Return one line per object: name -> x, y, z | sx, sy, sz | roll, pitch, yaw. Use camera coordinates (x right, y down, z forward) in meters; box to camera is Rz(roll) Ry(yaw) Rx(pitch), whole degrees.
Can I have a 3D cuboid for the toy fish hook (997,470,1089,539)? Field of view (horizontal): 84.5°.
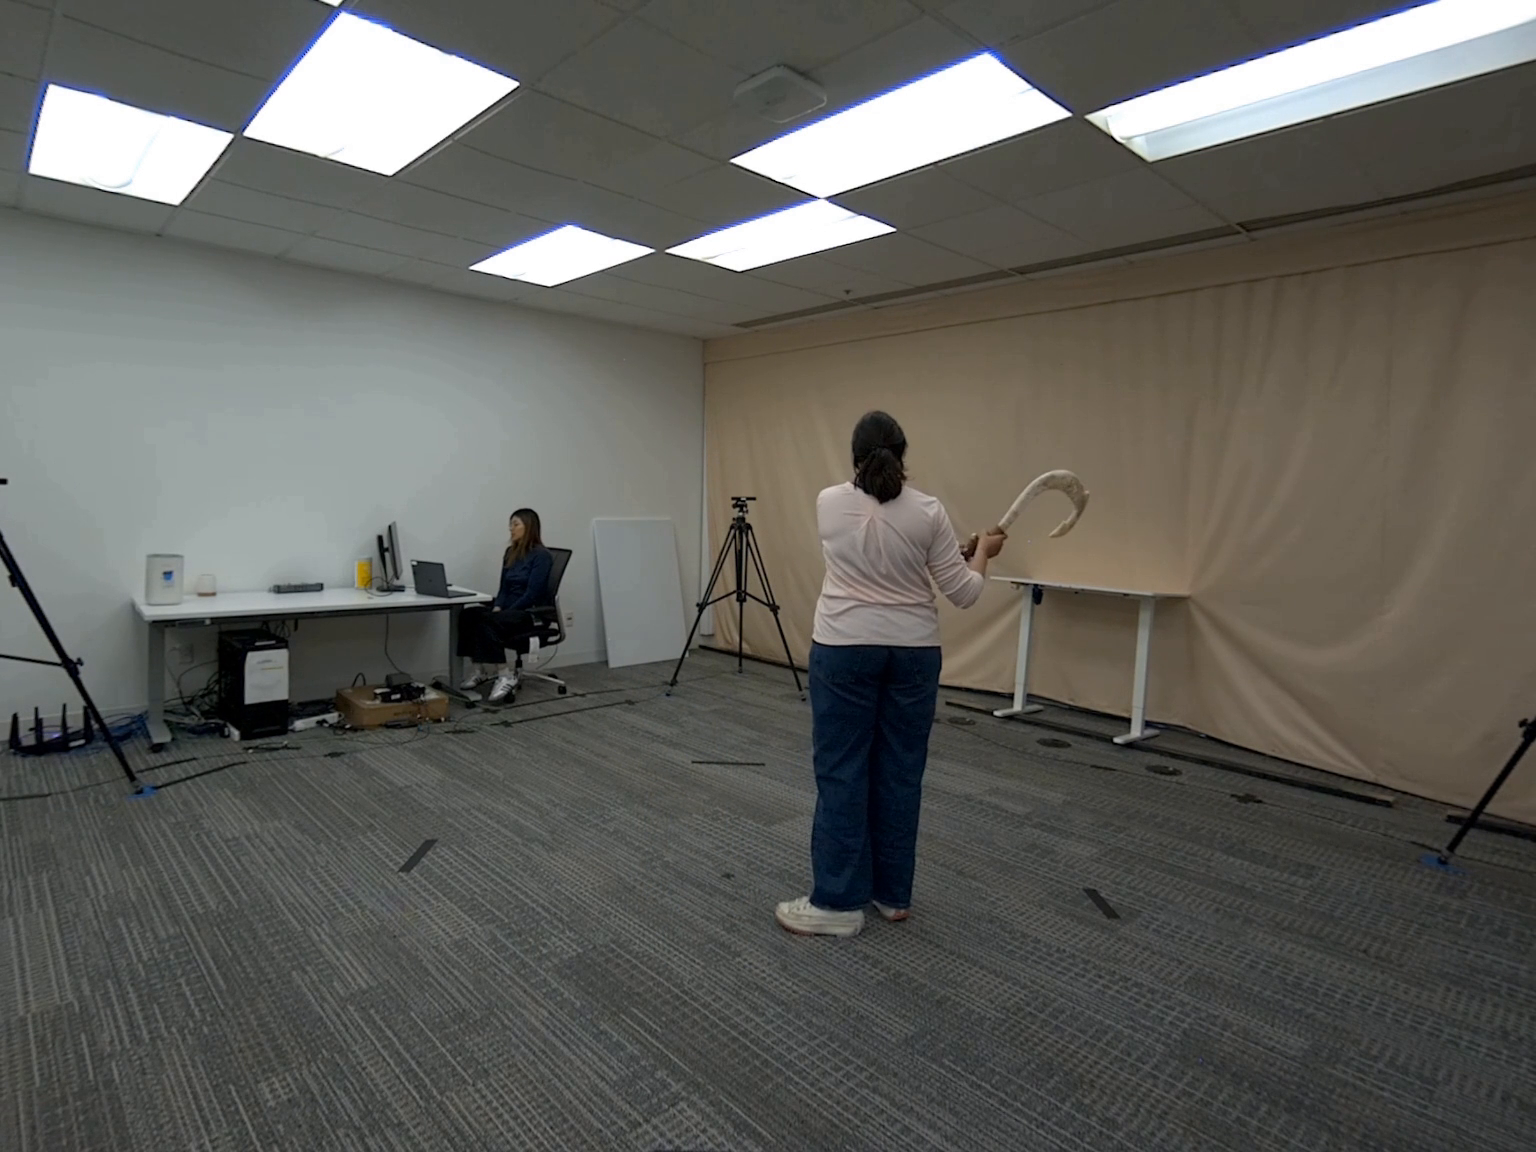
toy fish hook -> 0.860, -0.157, 2.967 | 0.507, 0.222, 0.049 | -41, 9, 9
